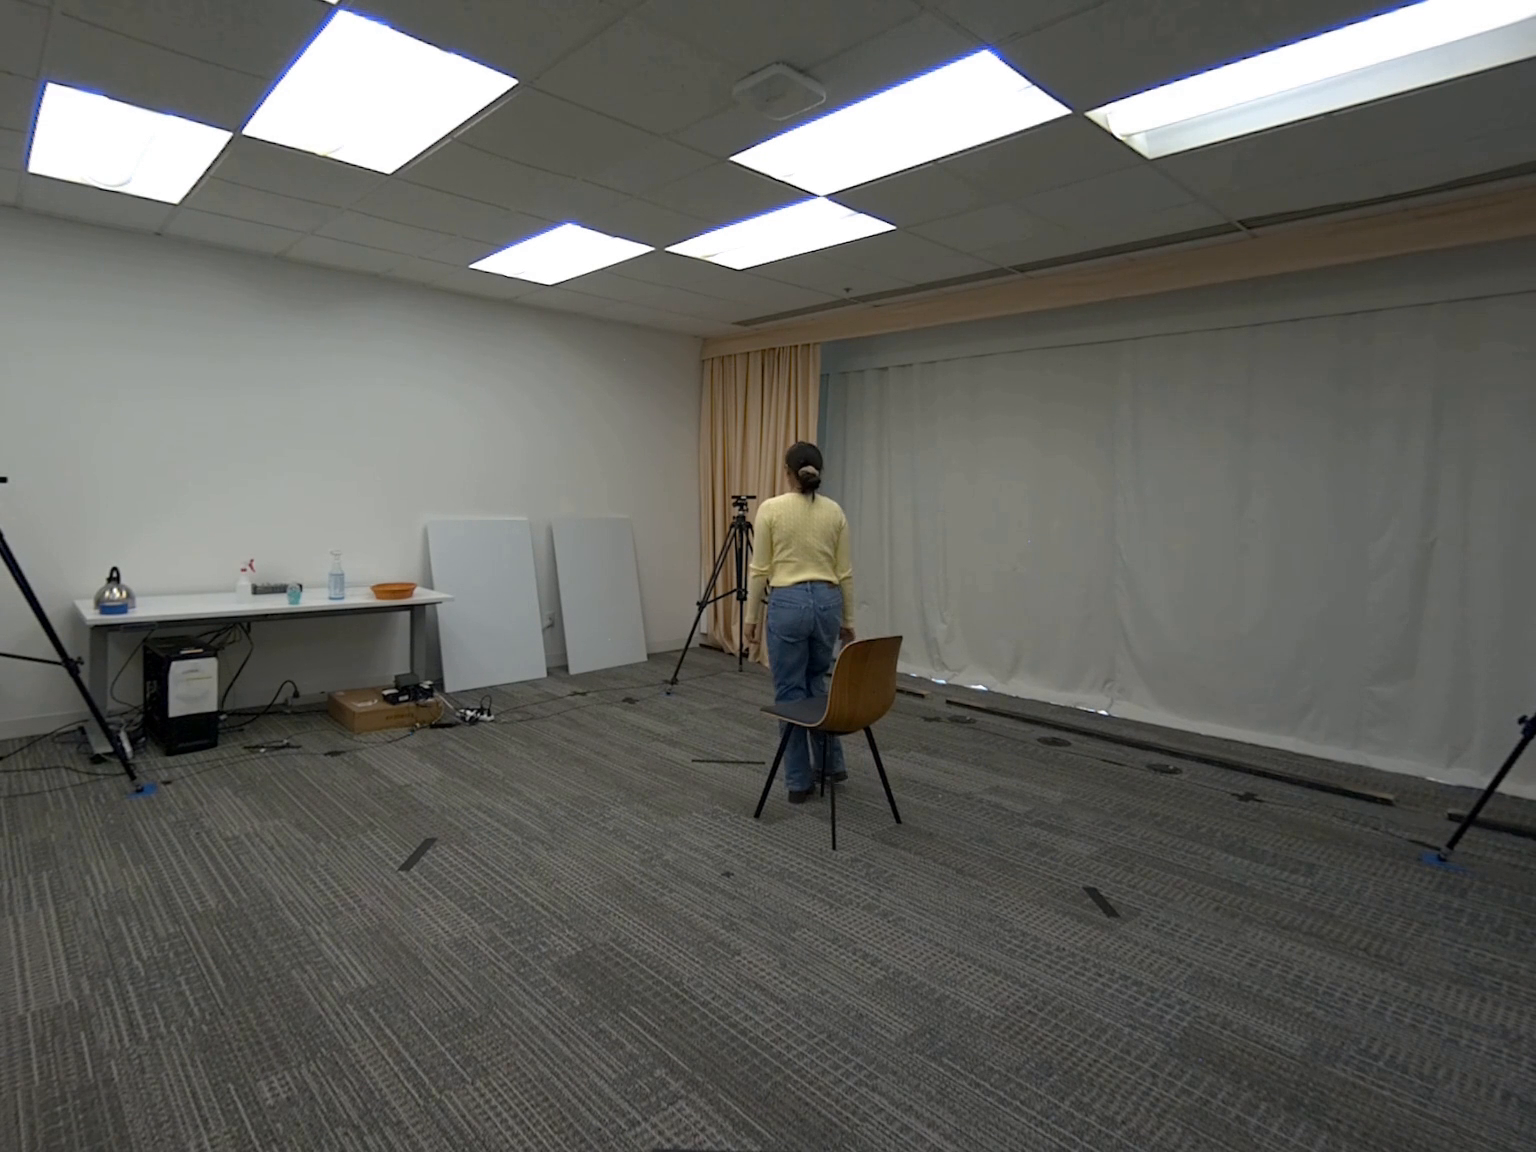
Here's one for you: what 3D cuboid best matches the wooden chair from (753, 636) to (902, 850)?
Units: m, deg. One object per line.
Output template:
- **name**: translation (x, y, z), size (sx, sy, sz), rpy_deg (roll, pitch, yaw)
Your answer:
- **wooden chair**: translation (0.252, 0.637, 3.627), size (0.467, 0.874, 0.537), rpy_deg (-2, 9, -45)
